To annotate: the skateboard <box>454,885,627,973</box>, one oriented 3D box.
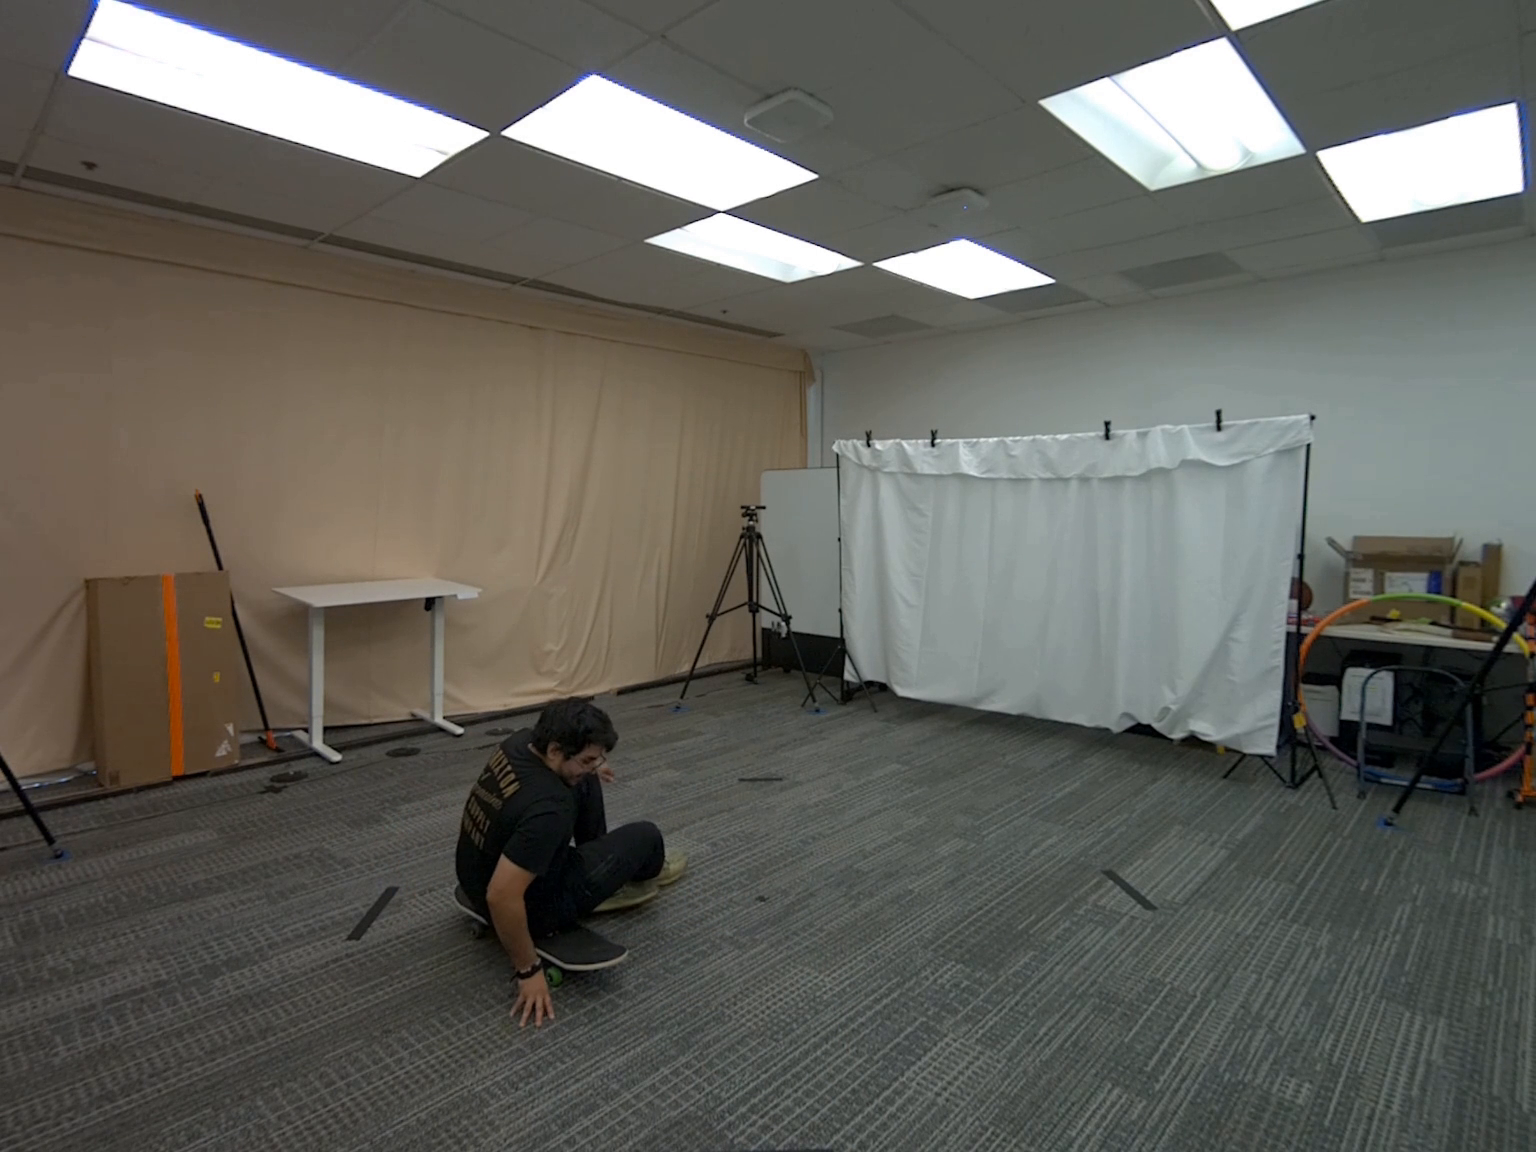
[{"bbox_3d":[-0.731,1.120,2.654,0.811,0.110,0.187,3,2,43],"label":"skateboard"}]
